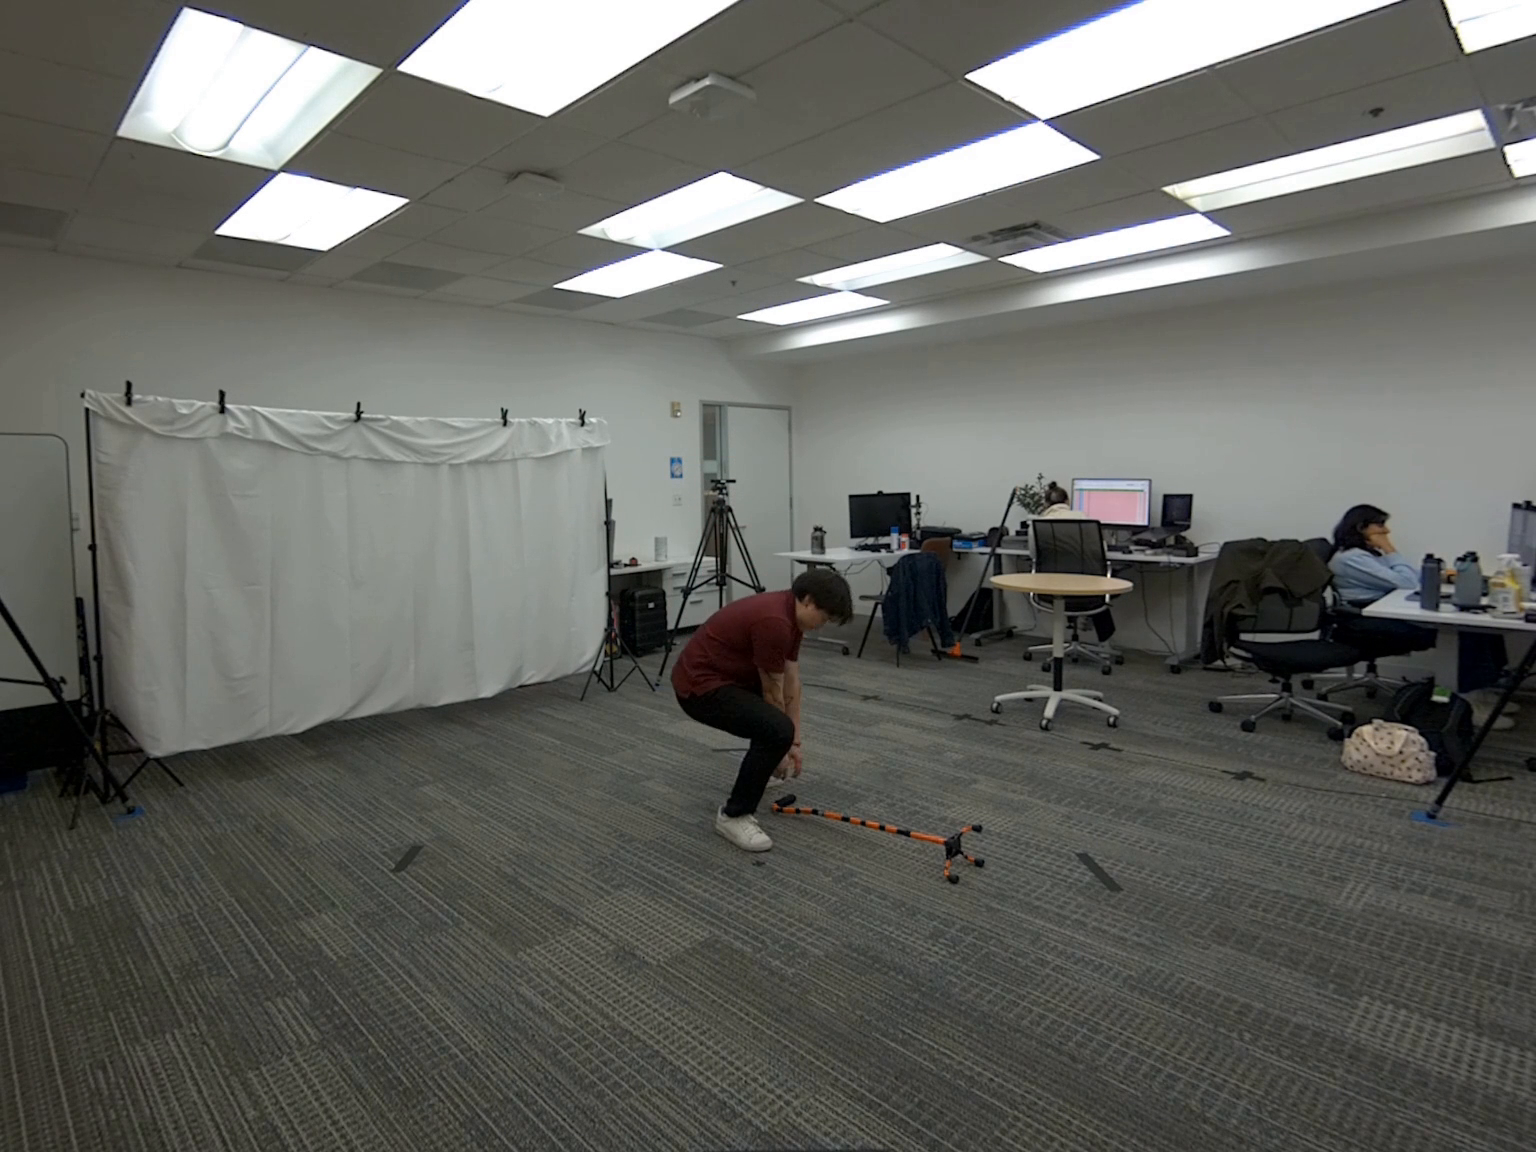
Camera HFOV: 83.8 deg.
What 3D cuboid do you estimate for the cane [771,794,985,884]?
[{"bbox_3d":[0.374,0.973,3.315,0.201,0.151,0.933,-4,2,-45],"label":"cane"}]
